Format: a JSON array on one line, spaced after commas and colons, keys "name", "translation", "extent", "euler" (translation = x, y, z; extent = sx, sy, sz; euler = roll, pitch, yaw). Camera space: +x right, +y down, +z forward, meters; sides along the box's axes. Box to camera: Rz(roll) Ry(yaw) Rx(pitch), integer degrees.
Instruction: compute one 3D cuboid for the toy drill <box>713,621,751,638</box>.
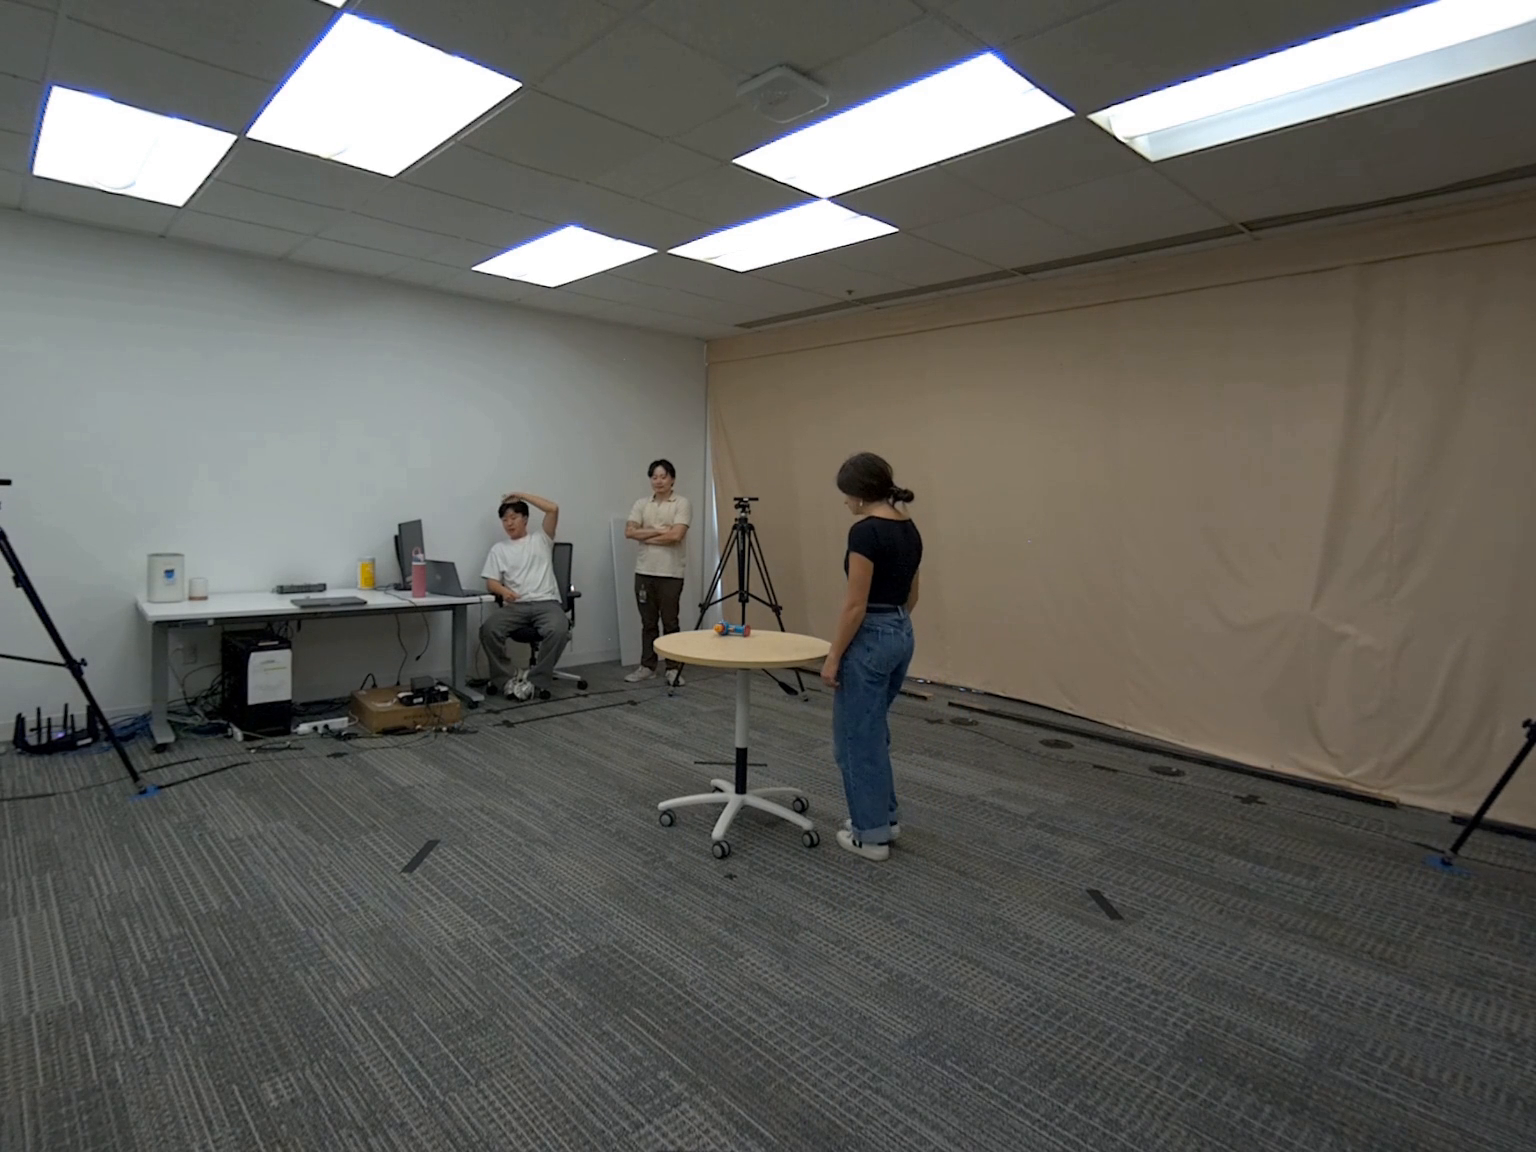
[{"name": "toy drill", "translation": [-0.181, 0.237, 3.757], "extent": [0.148, 0.061, 0.166], "euler": [3, -3, 22]}]
